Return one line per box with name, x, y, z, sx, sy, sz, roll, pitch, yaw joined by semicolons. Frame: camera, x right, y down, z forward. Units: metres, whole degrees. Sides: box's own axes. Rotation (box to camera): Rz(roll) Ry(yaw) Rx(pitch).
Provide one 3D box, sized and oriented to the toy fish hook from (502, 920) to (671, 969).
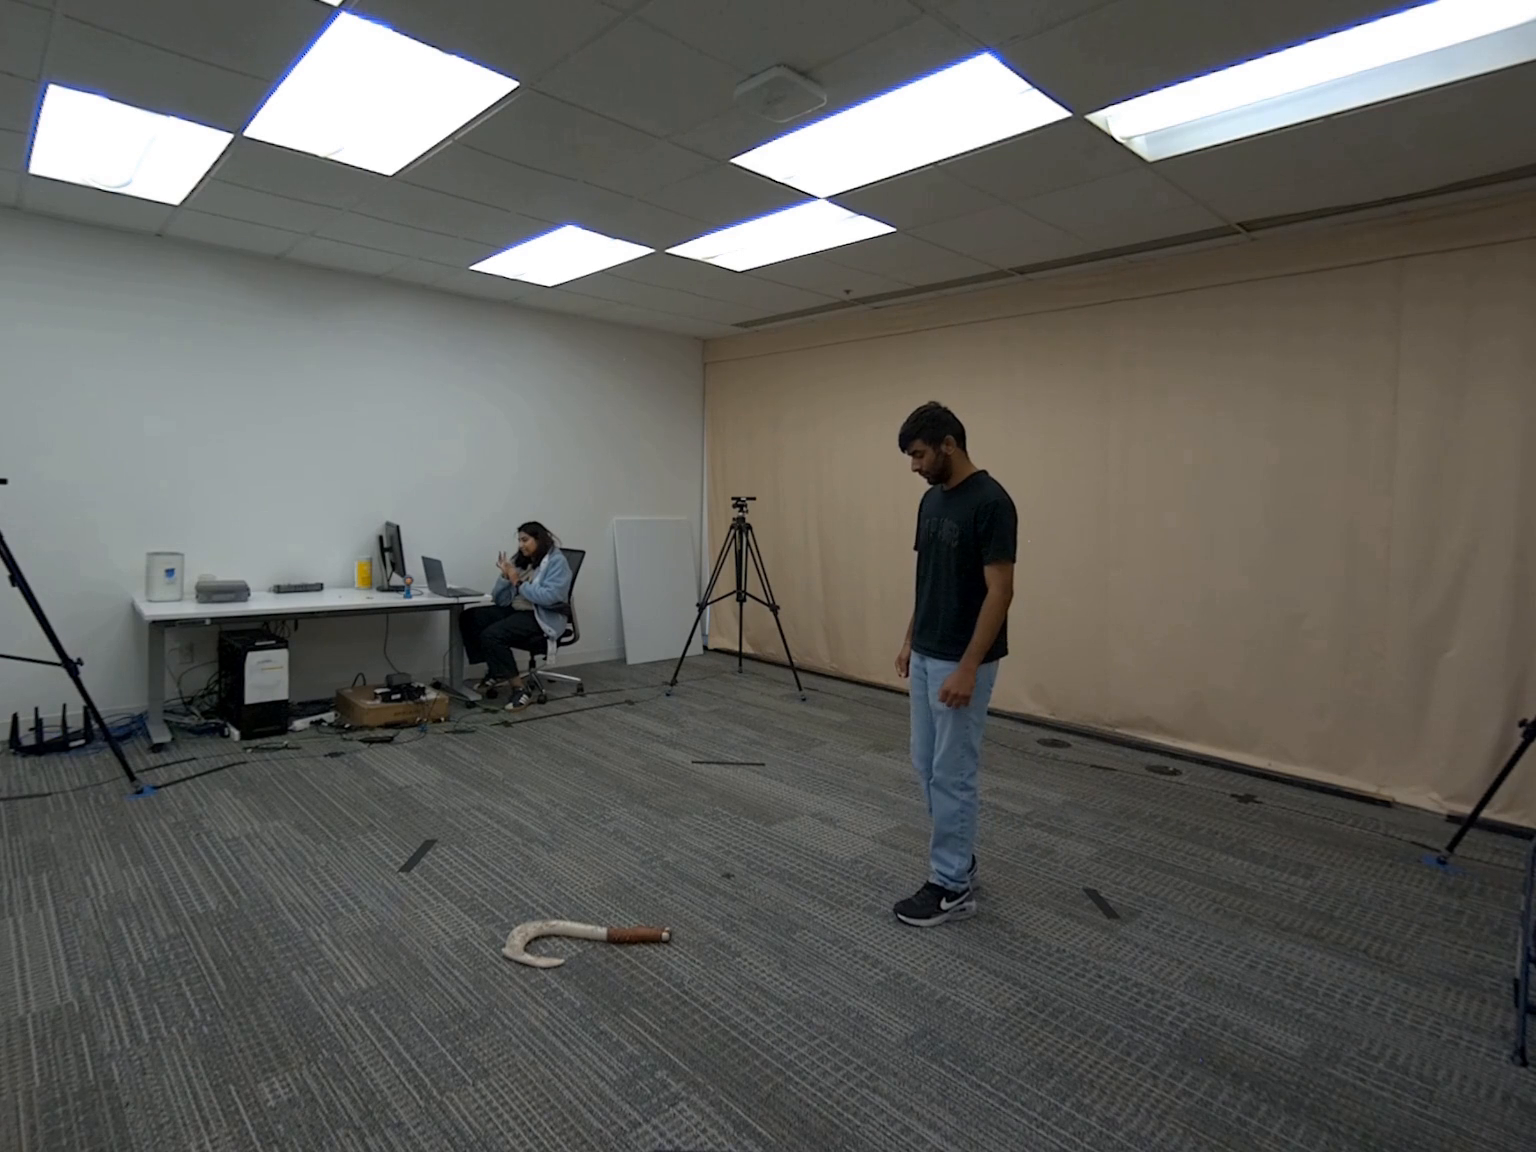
toy fish hook;-0.558;1.131;2.576;0.506;0.048;0.227;0;13;-1
